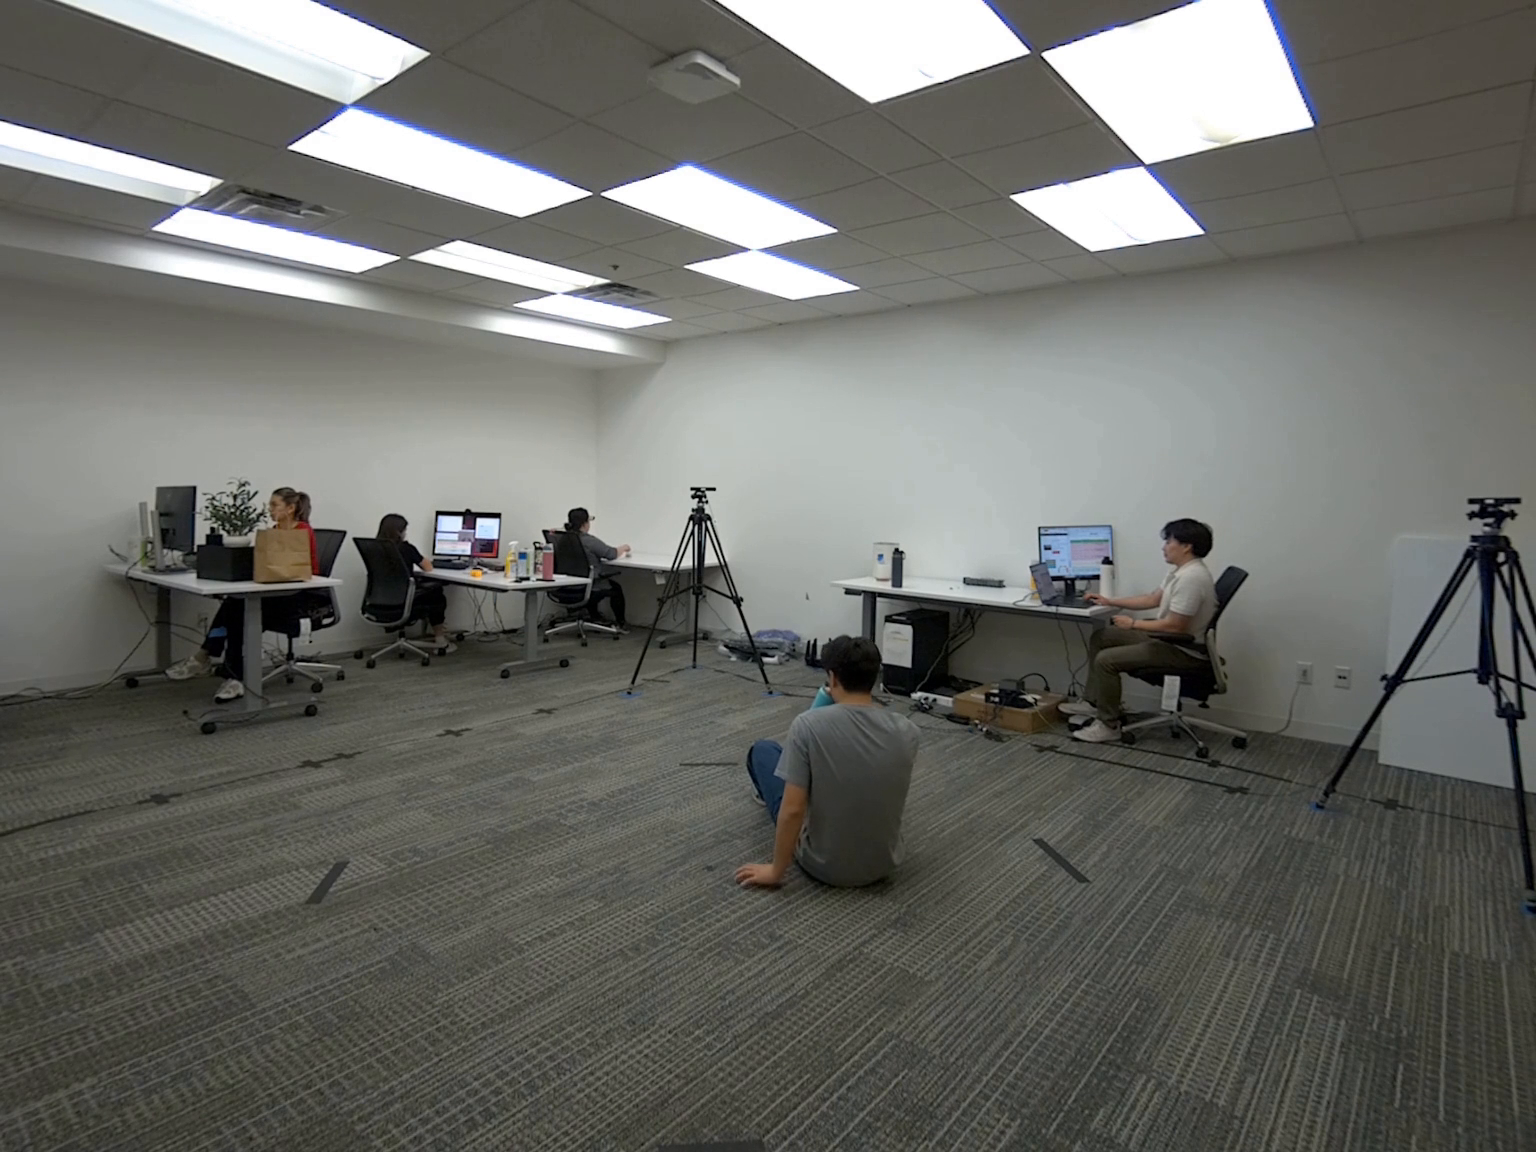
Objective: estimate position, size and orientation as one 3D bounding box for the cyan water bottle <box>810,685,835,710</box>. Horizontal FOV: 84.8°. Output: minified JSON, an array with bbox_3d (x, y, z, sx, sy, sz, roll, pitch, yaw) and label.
[{"bbox_3d":[0.219,0.538,3.501,0.091,0.281,0.094,18,15,-7],"label":"cyan water bottle"}]
